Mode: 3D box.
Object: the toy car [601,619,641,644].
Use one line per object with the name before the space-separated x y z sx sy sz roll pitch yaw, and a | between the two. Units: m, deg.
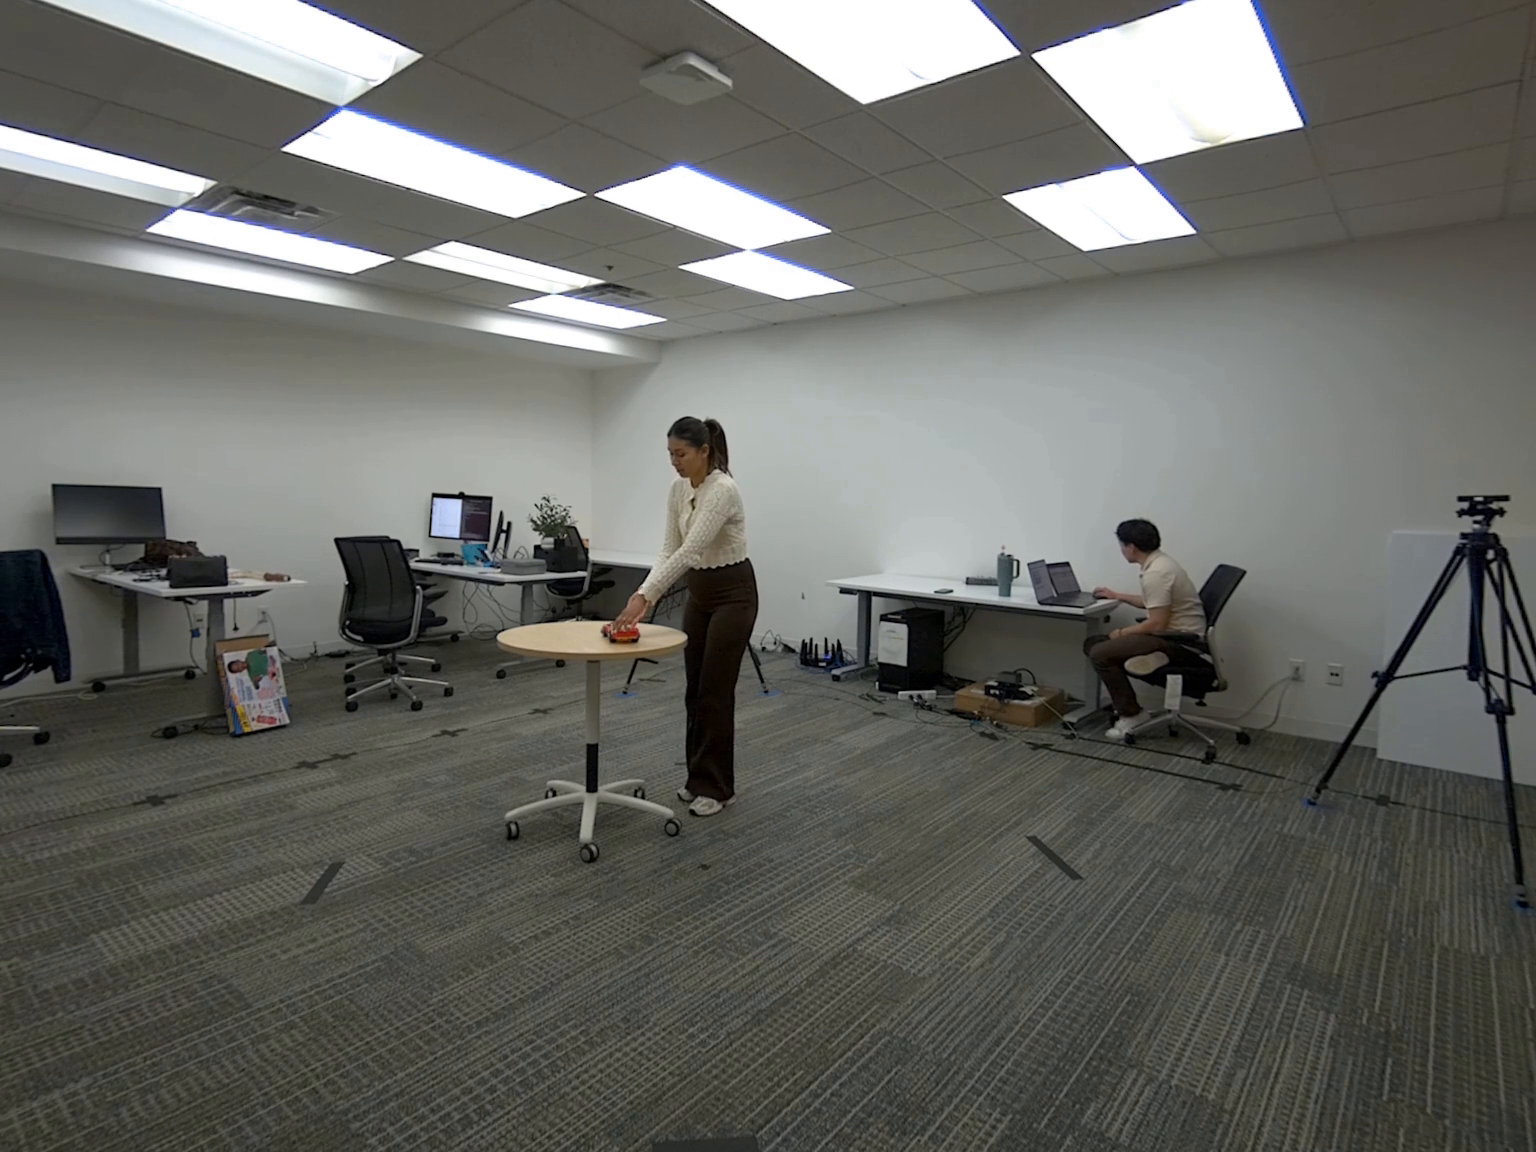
toy car | -0.601 0.220 3.374 0.128 0.084 0.258 -1 -5 -20
